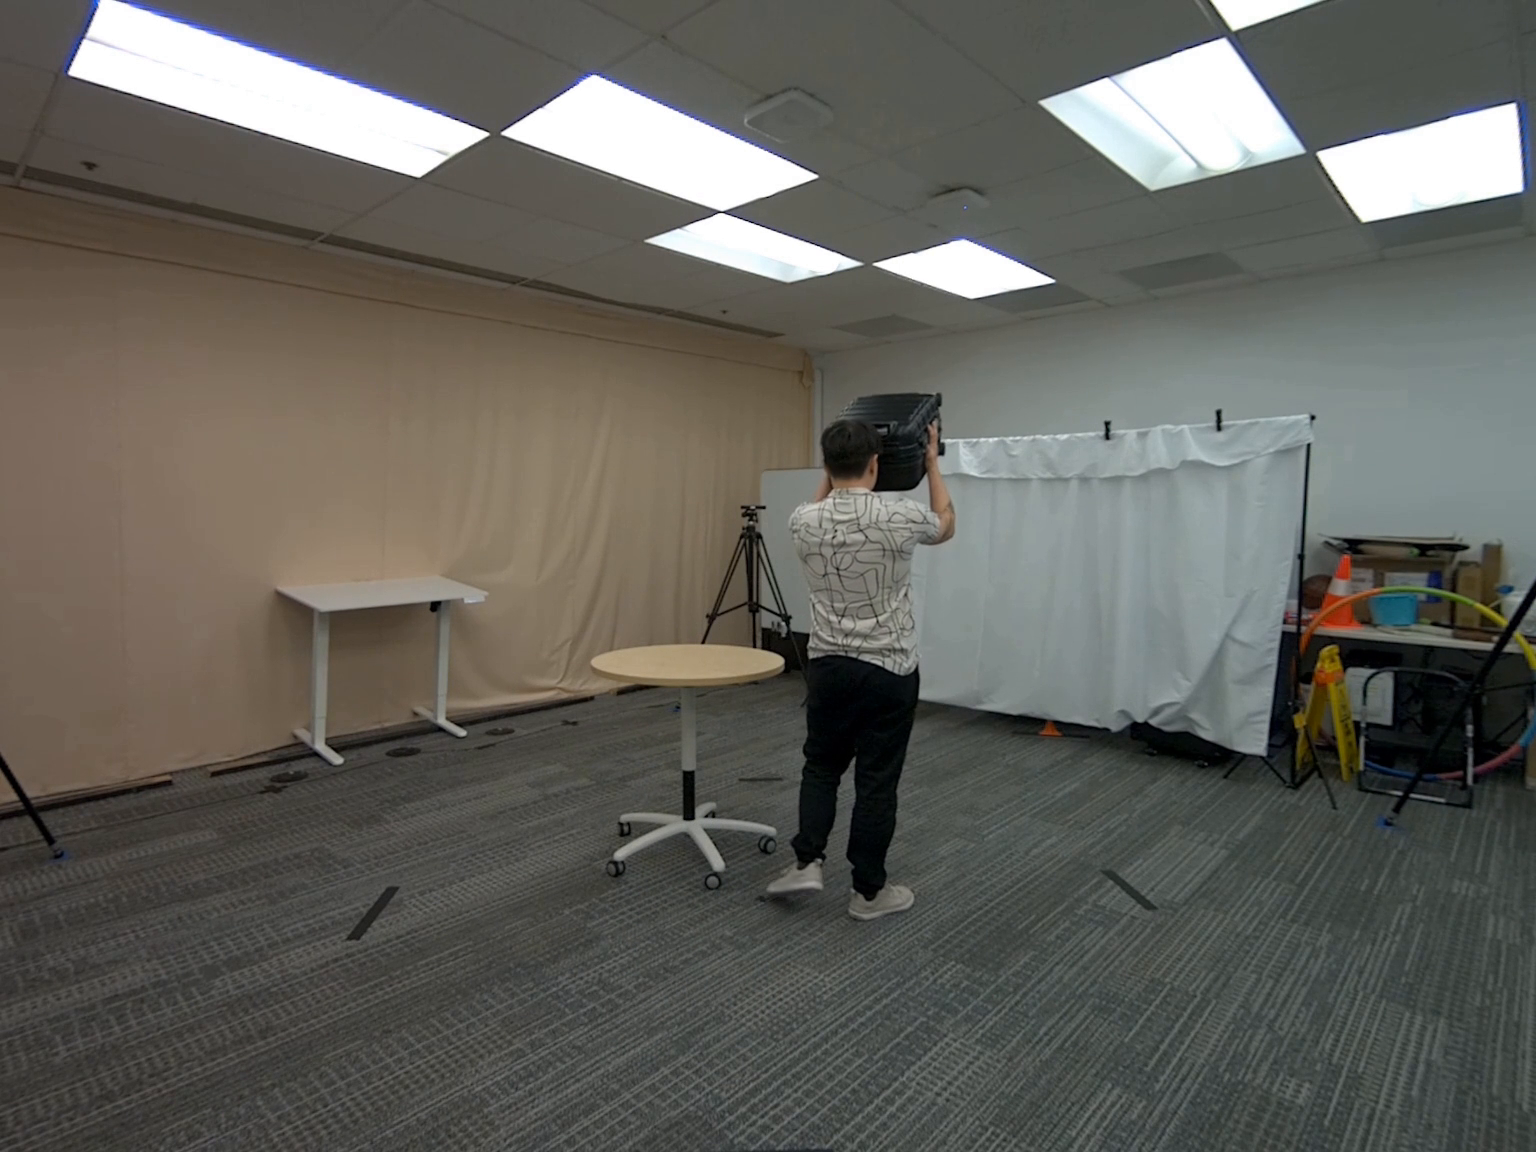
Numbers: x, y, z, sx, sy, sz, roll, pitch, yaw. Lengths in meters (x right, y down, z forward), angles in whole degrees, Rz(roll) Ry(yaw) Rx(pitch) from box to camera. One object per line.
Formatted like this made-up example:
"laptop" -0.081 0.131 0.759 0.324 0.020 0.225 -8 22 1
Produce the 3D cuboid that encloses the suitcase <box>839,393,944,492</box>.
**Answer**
"suitcase" 0.447 -0.504 3.164 0.385 0.244 0.545 1 25 24
